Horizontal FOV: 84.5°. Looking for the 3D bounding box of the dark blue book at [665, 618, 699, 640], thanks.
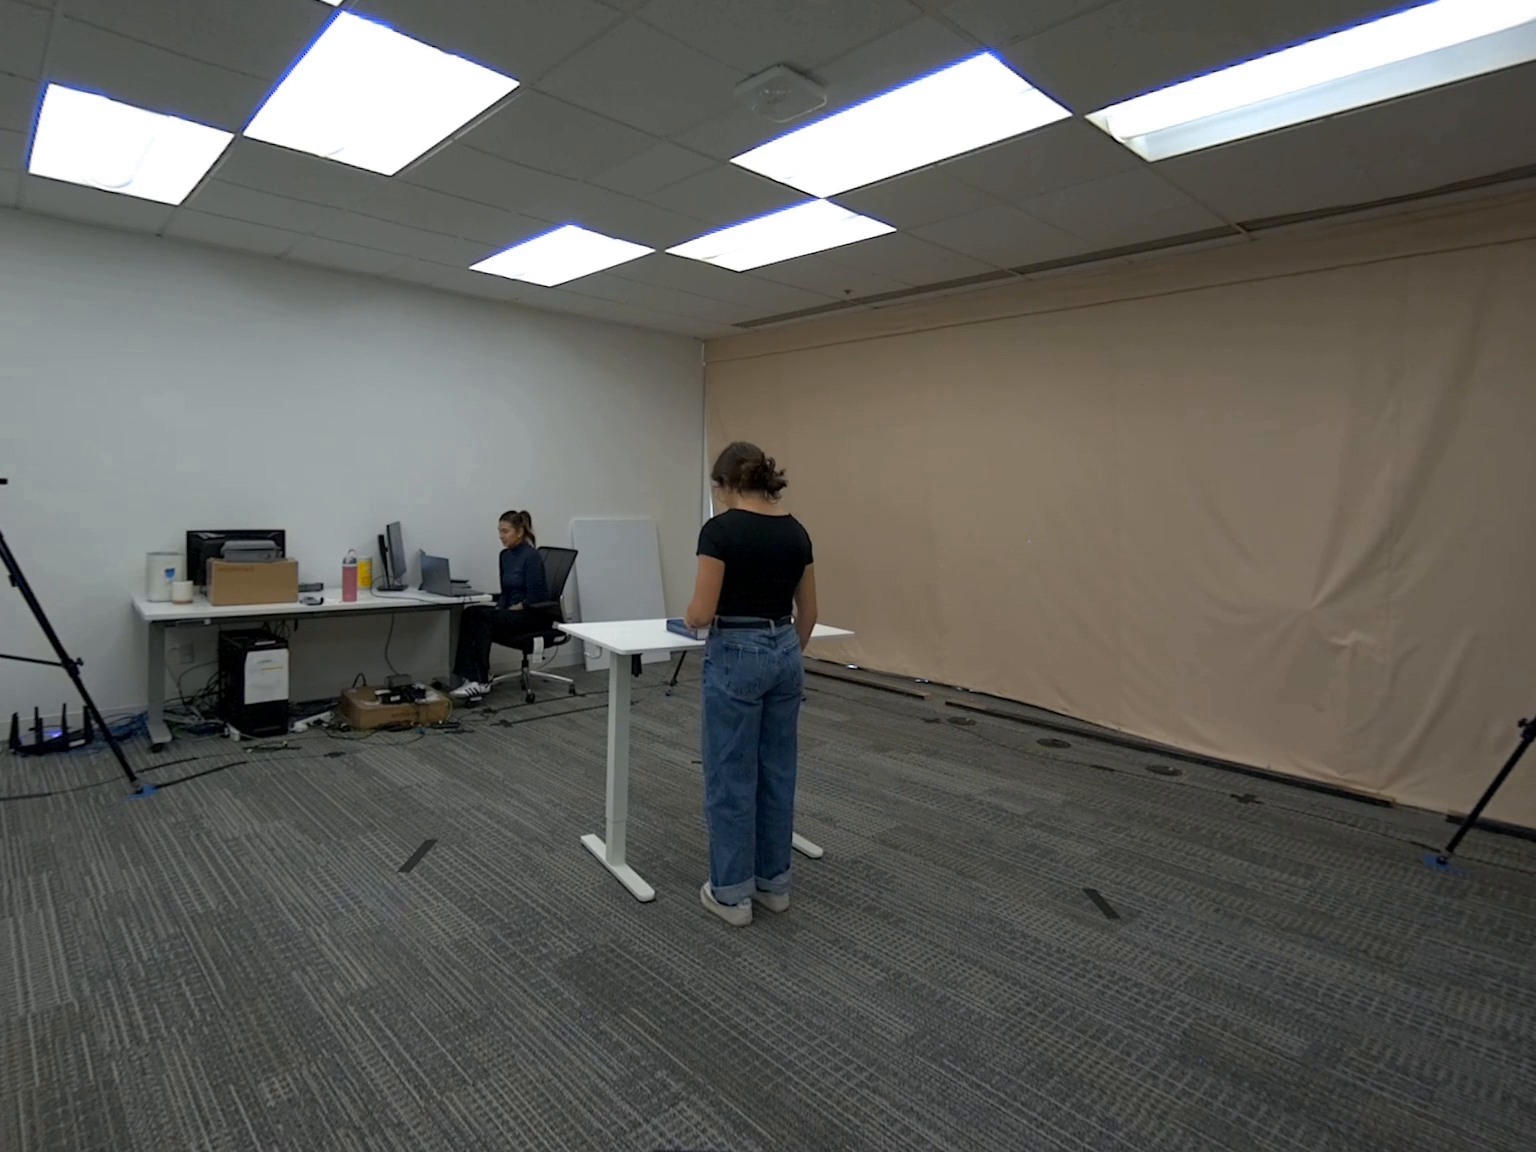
[{"bbox_3d":[-0.254,0.202,3.138,0.160,0.045,0.251,-2,6,-33],"label":"dark blue book"}]
